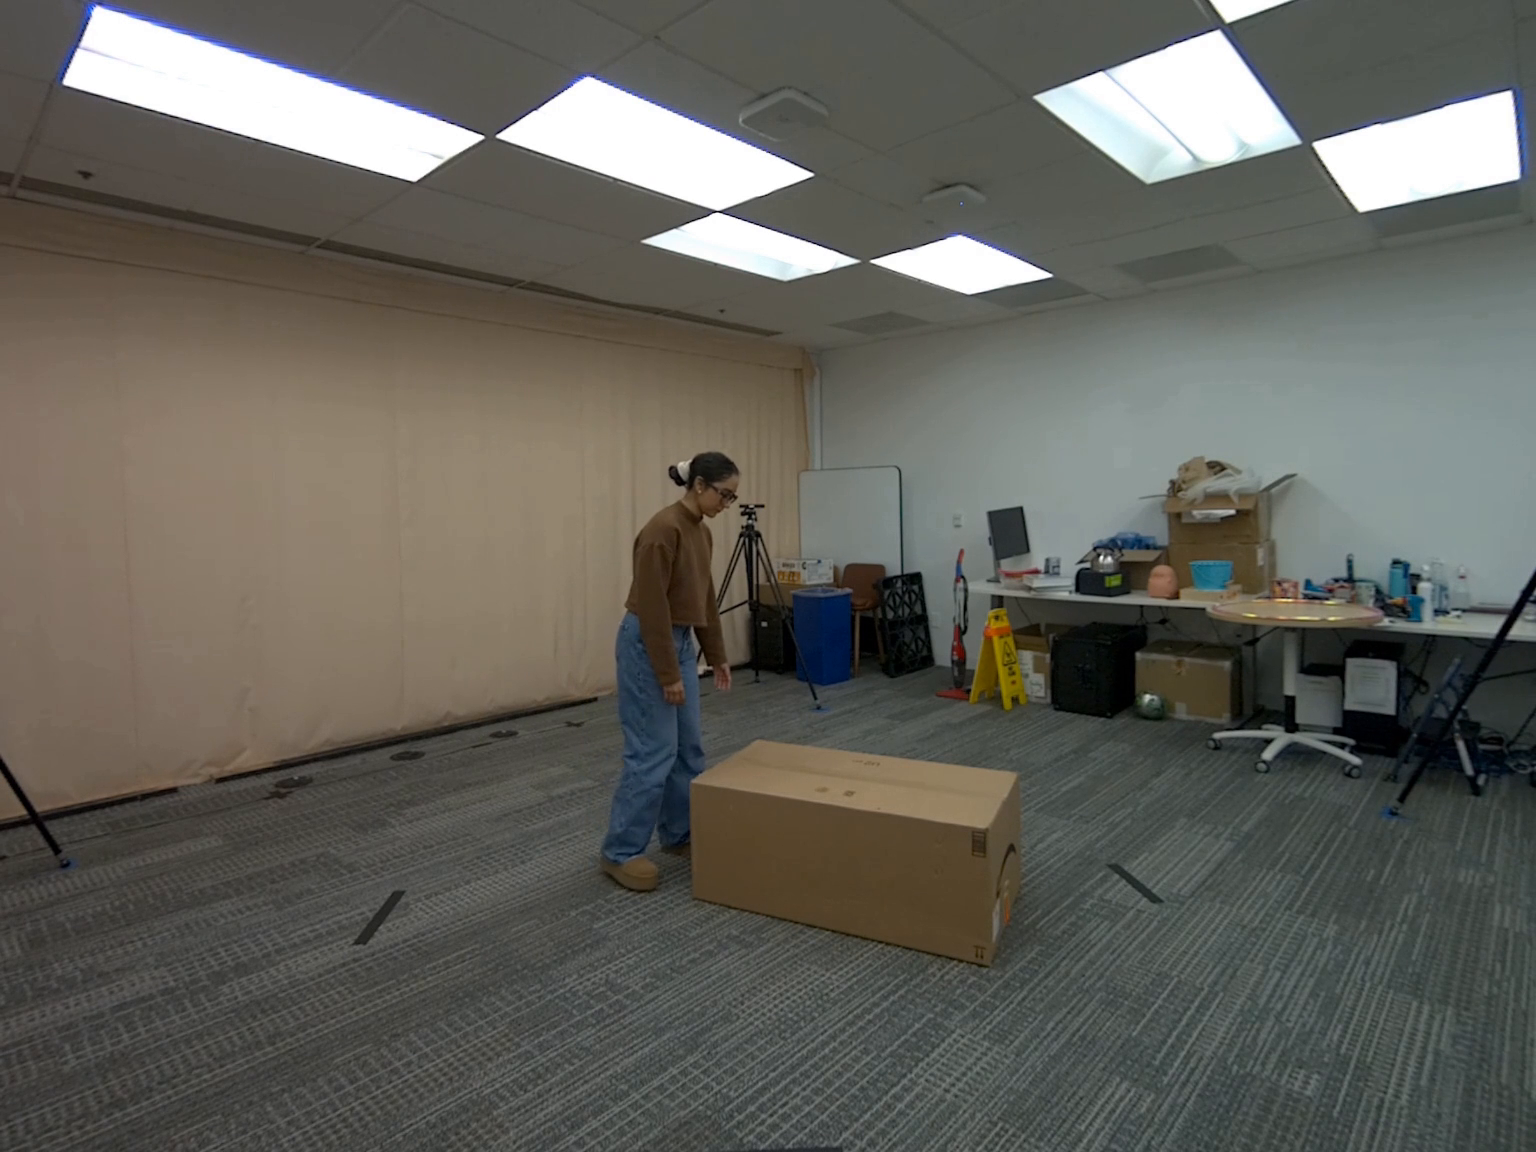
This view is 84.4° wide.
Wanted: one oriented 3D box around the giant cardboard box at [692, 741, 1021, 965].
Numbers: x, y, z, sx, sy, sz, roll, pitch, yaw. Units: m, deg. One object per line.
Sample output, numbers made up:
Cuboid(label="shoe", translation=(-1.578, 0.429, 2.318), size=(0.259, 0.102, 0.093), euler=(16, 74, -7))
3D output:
Cuboid(label="giant cardboard box", translation=(0.320, 0.921, 2.980), size=(1.055, 0.446, 0.569), euler=(2, 4, 27))
